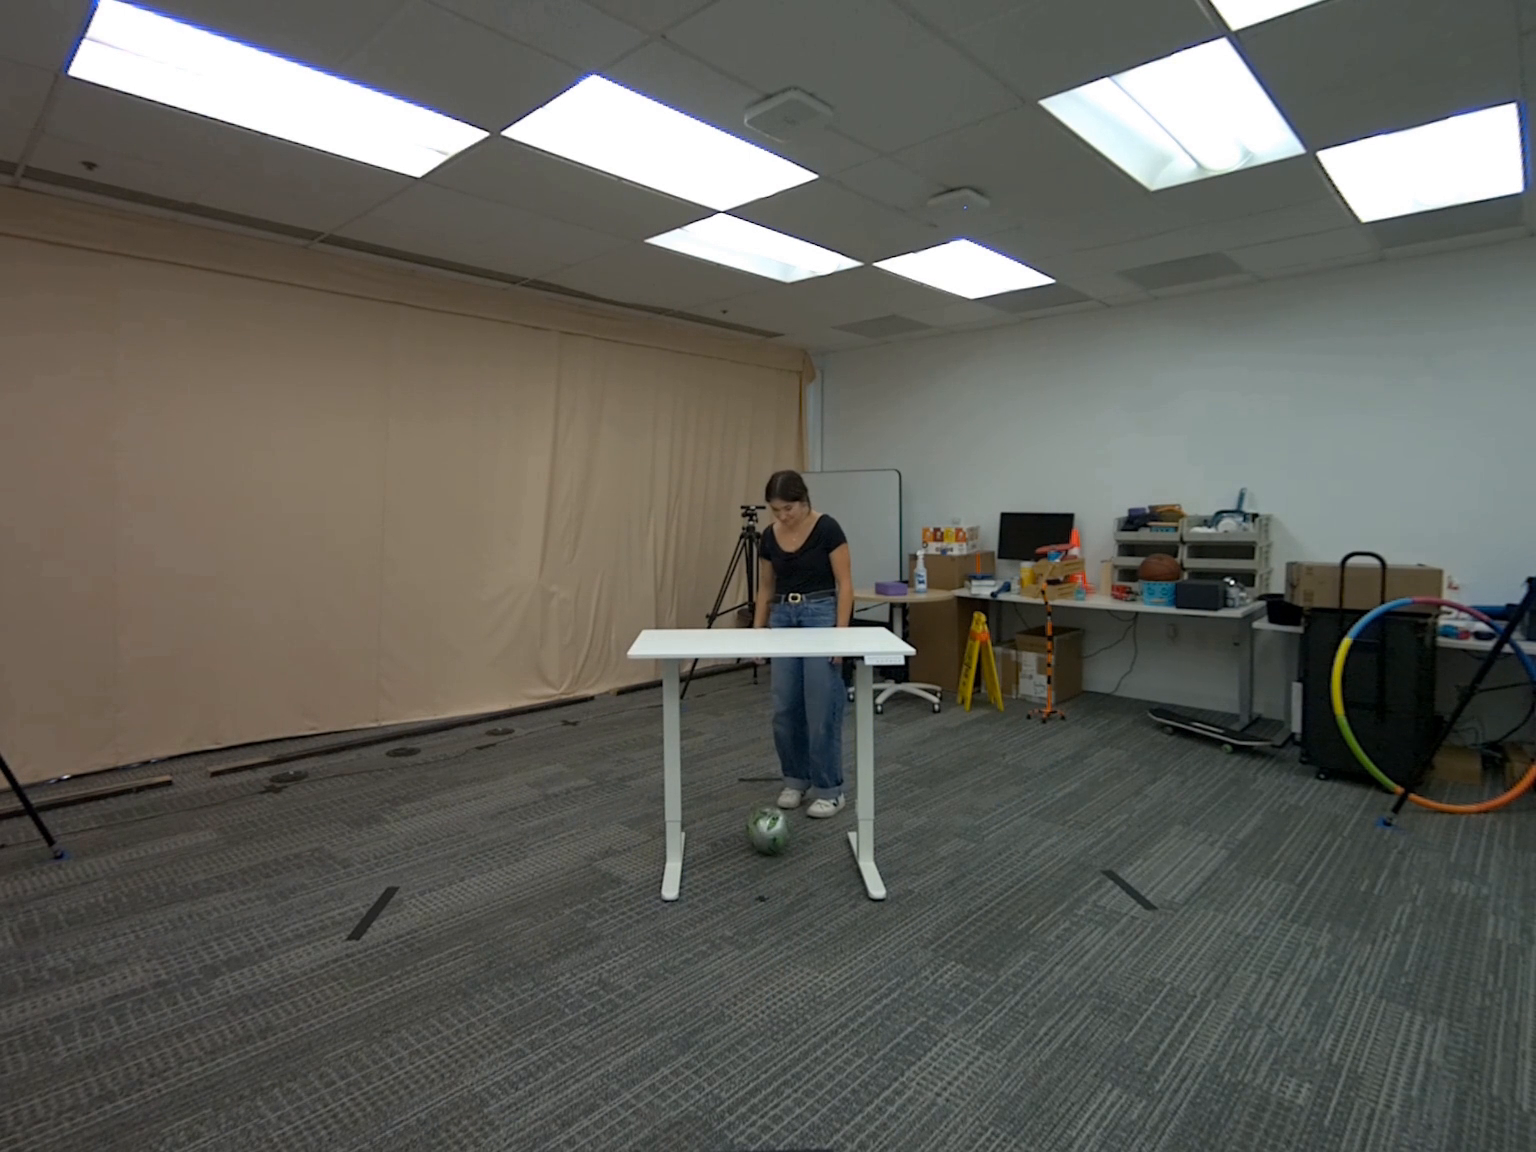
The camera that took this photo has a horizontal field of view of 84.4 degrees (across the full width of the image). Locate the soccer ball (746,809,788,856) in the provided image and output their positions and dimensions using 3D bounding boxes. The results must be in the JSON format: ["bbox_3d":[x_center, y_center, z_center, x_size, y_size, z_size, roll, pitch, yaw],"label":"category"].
[{"bbox_3d":[0.015,1.018,3.373,0.187,0.187,0.188,0,4,-2],"label":"soccer ball"}]
